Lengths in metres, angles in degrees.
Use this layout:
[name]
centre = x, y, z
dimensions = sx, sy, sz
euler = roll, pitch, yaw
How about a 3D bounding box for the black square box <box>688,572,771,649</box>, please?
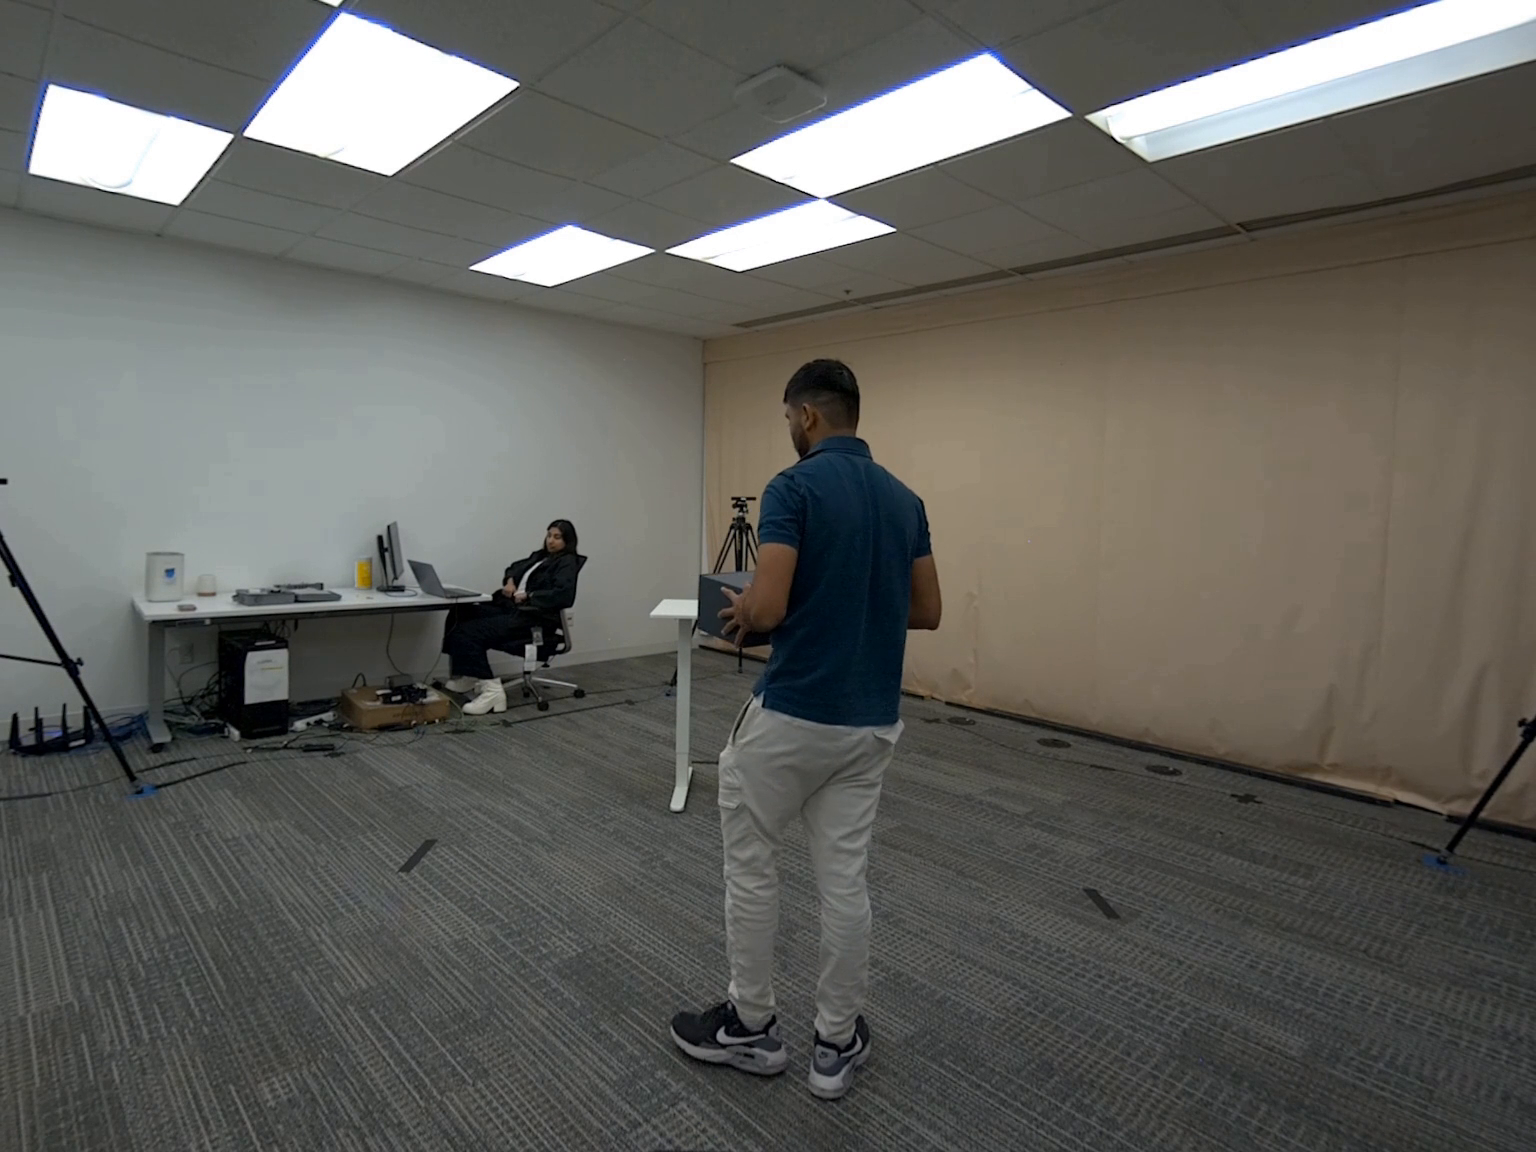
[black square box]
centre = -0.081, 0.087, 2.297
dimensions = 0.214, 0.155, 0.232
euler = 0, 10, -18
